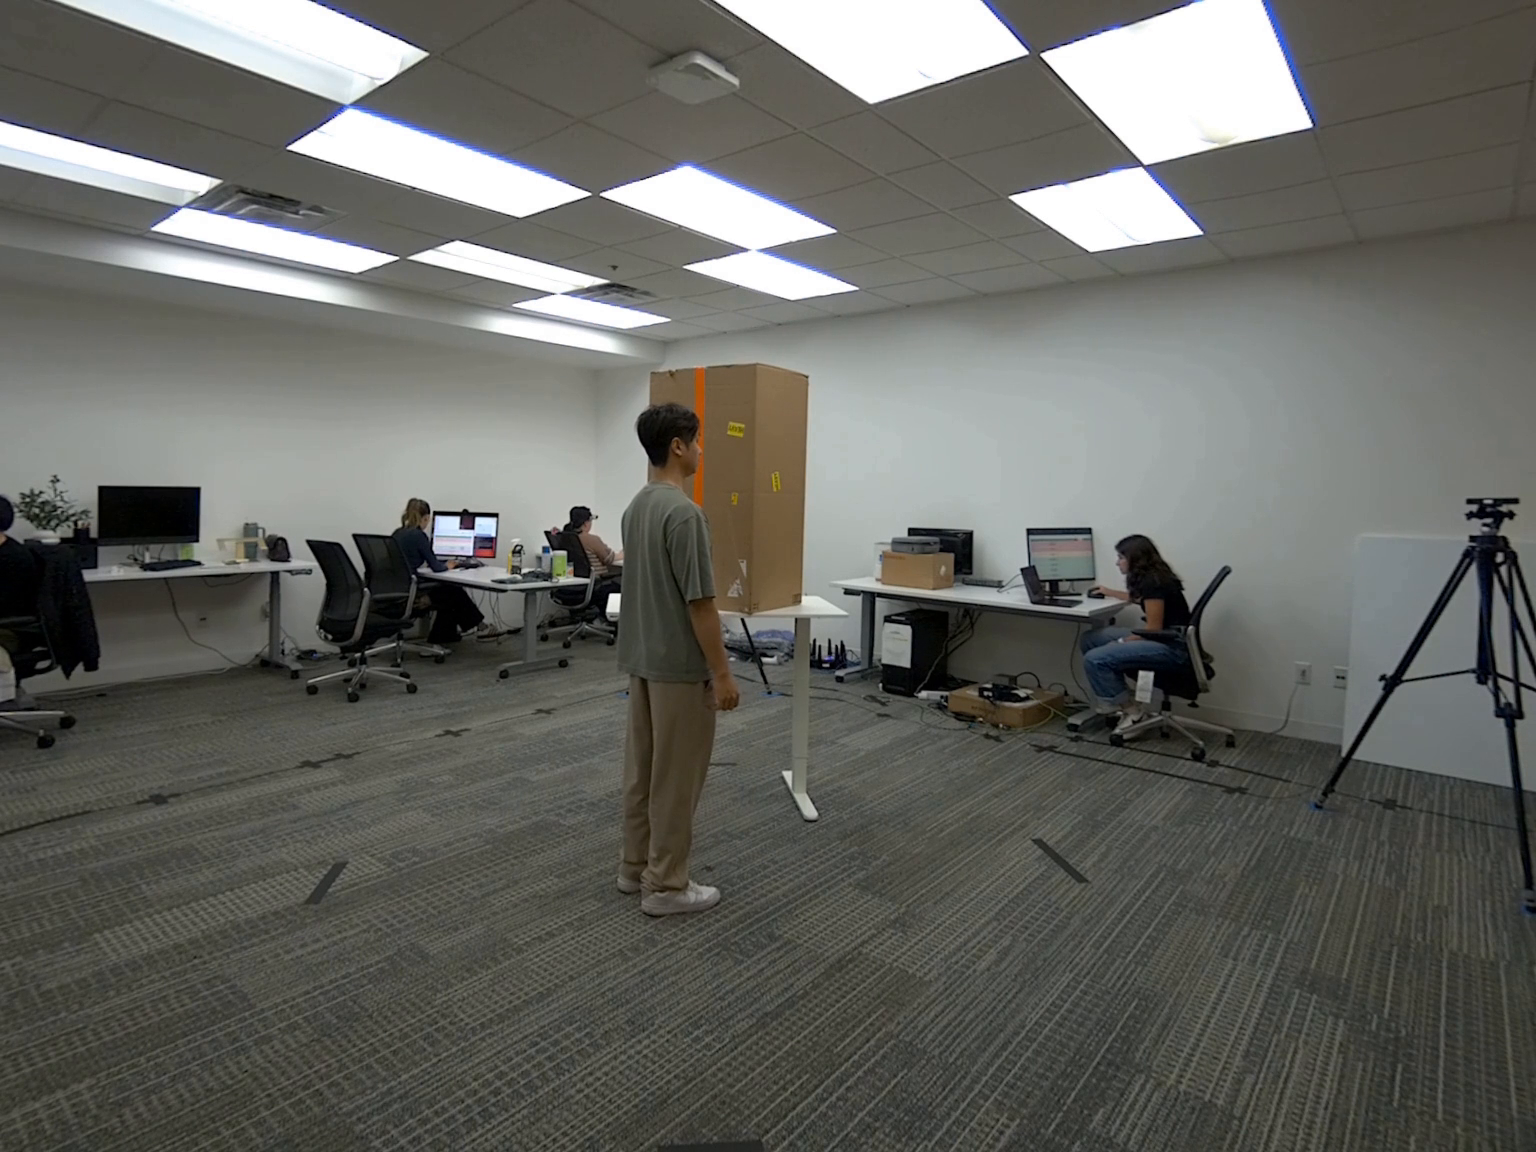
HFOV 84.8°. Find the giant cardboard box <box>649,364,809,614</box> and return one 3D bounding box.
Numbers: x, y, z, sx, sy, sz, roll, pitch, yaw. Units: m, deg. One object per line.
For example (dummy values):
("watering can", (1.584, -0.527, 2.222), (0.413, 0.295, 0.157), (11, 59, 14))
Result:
("giant cardboard box", (-0.195, -0.392, 3.786), (0.596, 1.022, 0.414), (4, 5, 35))
